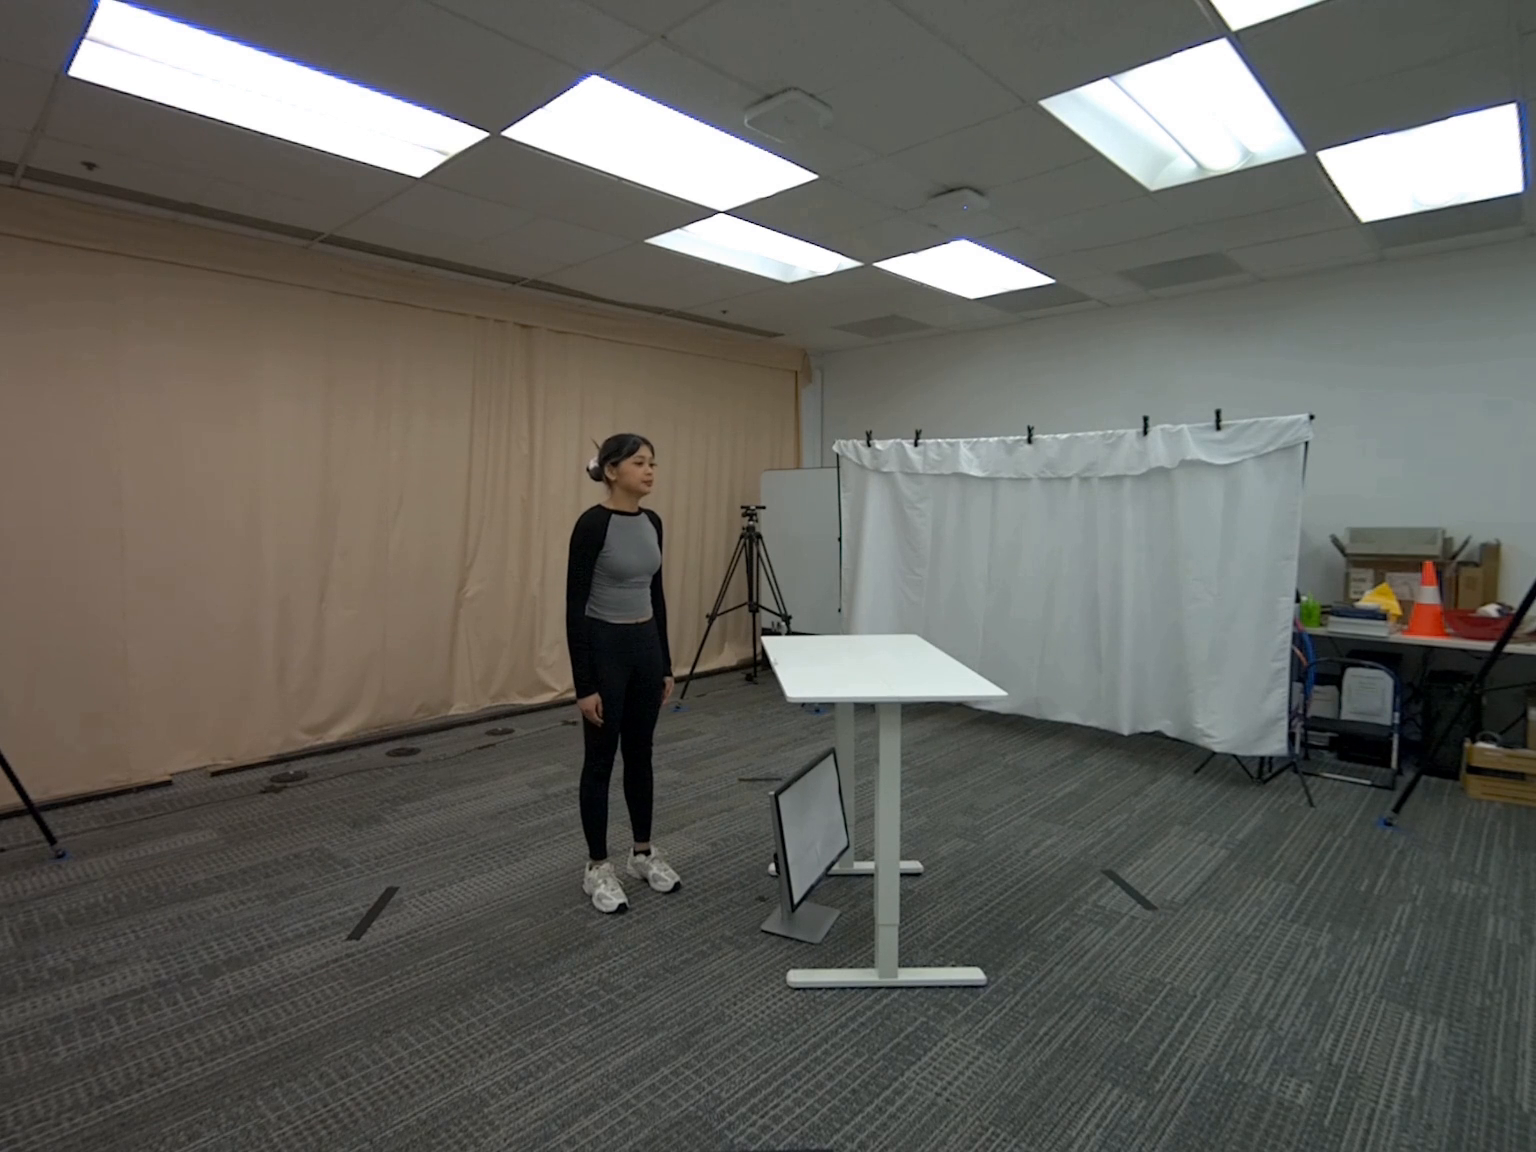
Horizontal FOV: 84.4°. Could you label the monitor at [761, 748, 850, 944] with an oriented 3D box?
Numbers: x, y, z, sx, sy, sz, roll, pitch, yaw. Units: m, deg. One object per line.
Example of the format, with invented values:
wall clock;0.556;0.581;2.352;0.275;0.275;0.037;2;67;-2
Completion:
monitor;0.117;0.901;2.800;0.192;0.521;0.527;3;5;22
